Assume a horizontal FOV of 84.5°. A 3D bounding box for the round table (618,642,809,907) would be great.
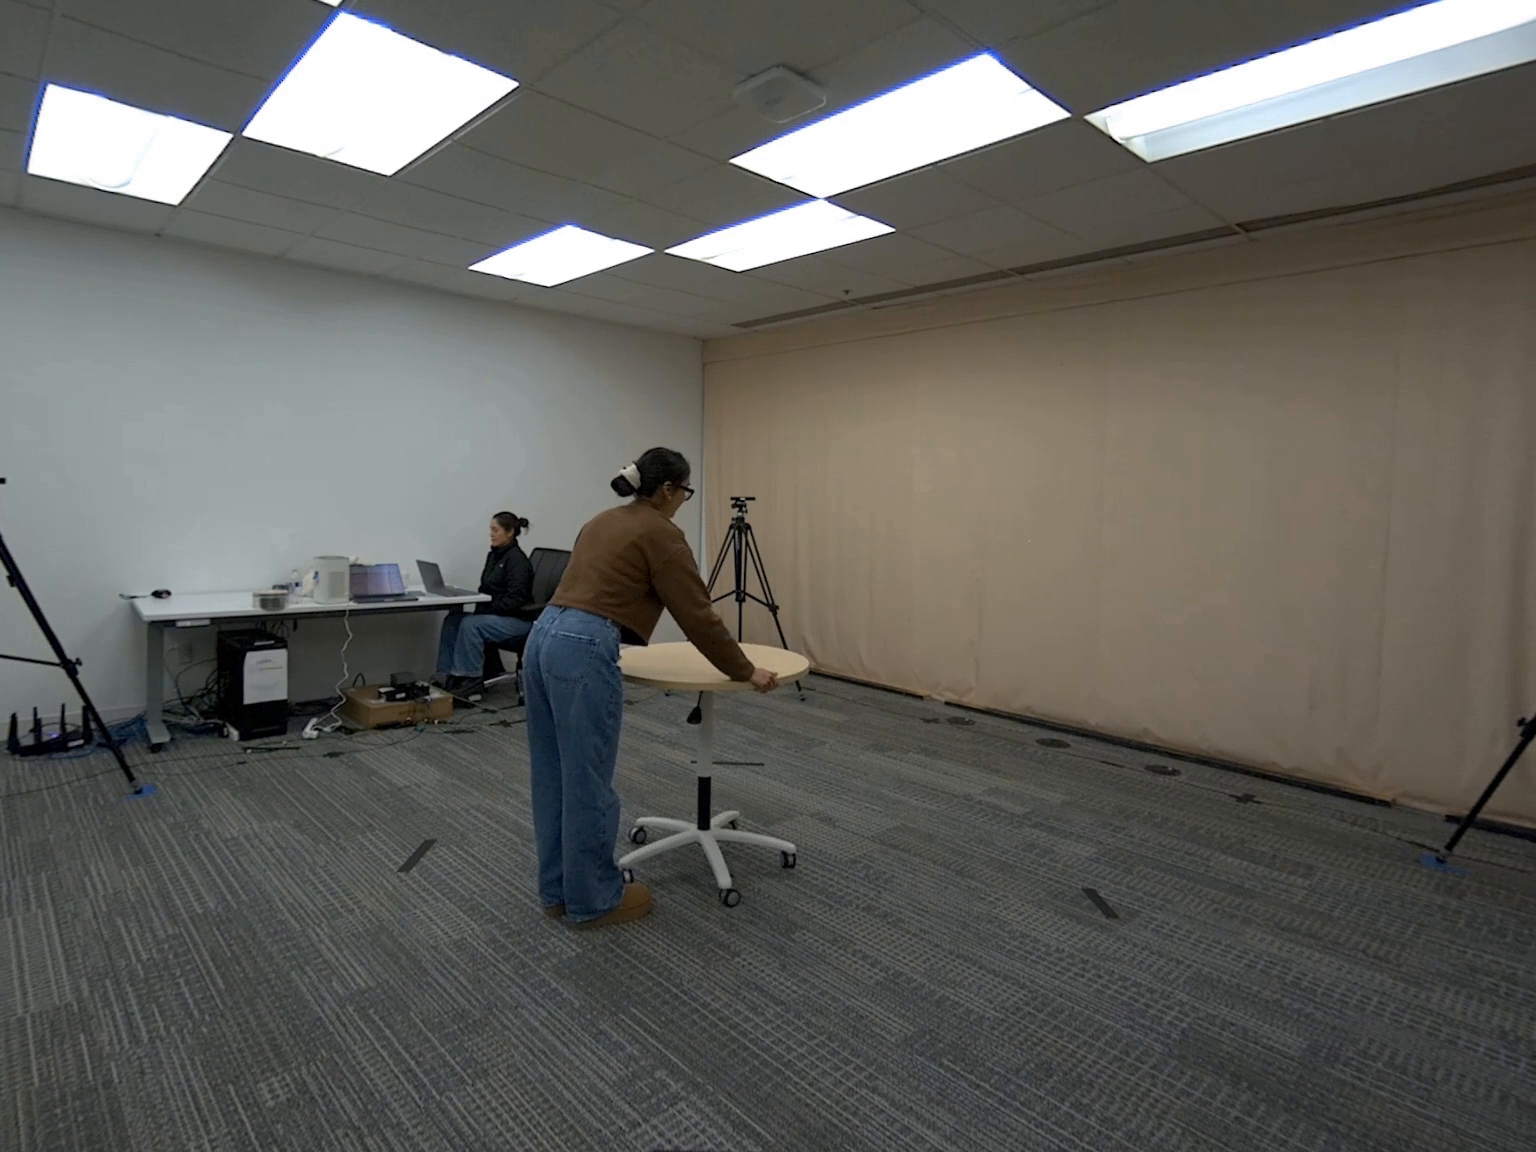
[{"bbox_3d":[-0.243,0.709,3.180,0.763,0.792,0.767,1,4,-1],"label":"round table"}]
